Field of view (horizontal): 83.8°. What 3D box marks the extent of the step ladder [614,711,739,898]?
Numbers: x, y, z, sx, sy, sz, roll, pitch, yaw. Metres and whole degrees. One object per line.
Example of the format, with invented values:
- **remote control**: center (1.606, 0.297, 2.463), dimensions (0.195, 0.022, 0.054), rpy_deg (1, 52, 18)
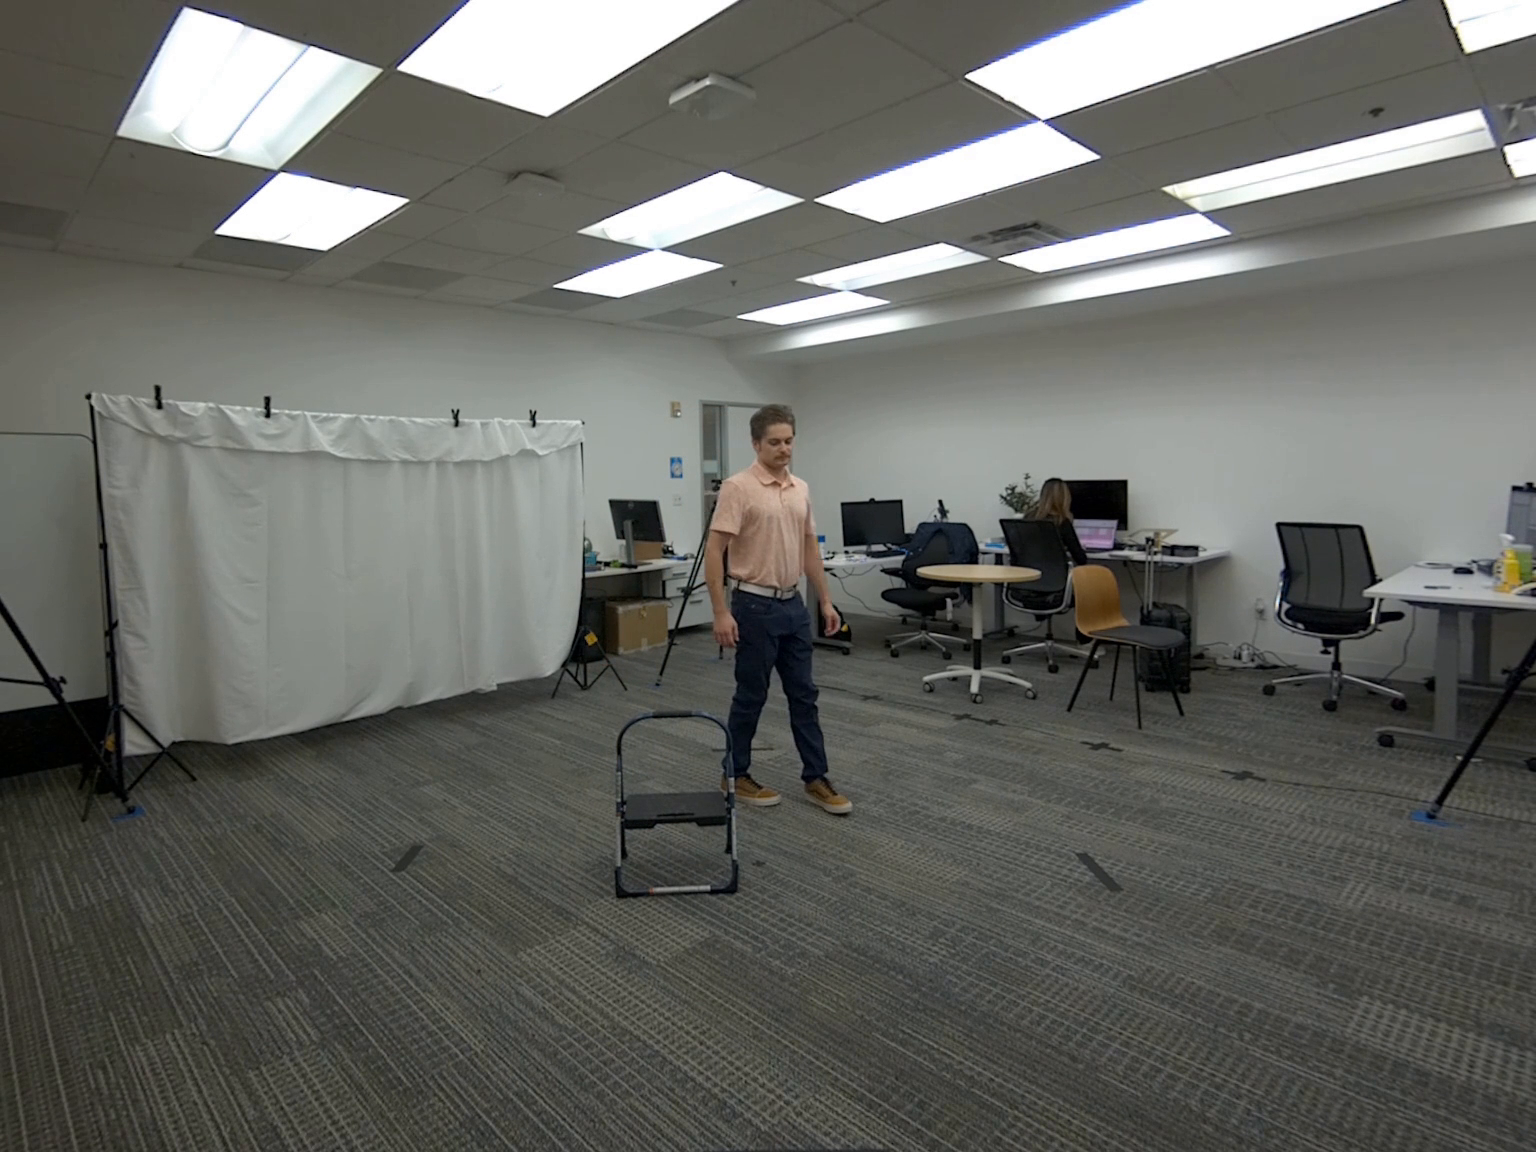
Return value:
- **step ladder**: center (-0.331, 0.761, 3.023), dimensions (0.428, 0.604, 0.352), rpy_deg (-2, 5, -6)
